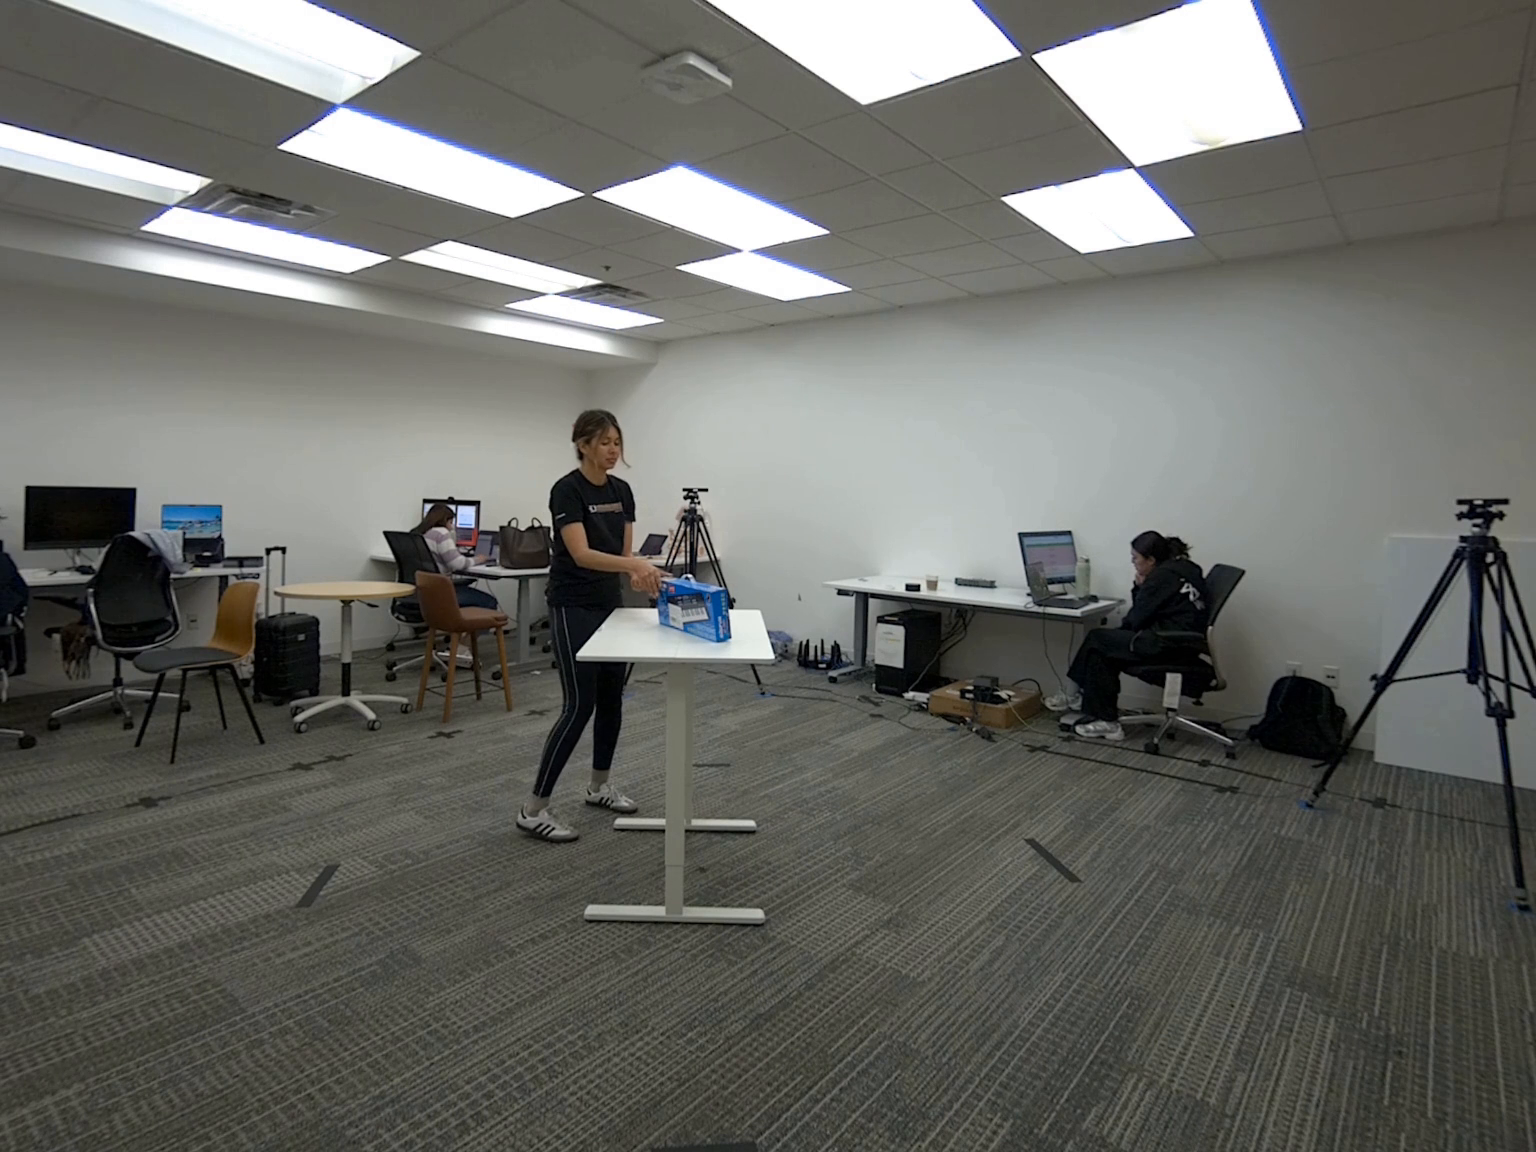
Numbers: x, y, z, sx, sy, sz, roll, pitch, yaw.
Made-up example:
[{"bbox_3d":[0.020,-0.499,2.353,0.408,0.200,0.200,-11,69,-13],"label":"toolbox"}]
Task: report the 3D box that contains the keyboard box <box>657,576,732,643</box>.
[{"bbox_3d":[-0.281,0.110,2.994,0.058,0.175,0.450,-8,9,-31],"label":"keyboard box"}]
